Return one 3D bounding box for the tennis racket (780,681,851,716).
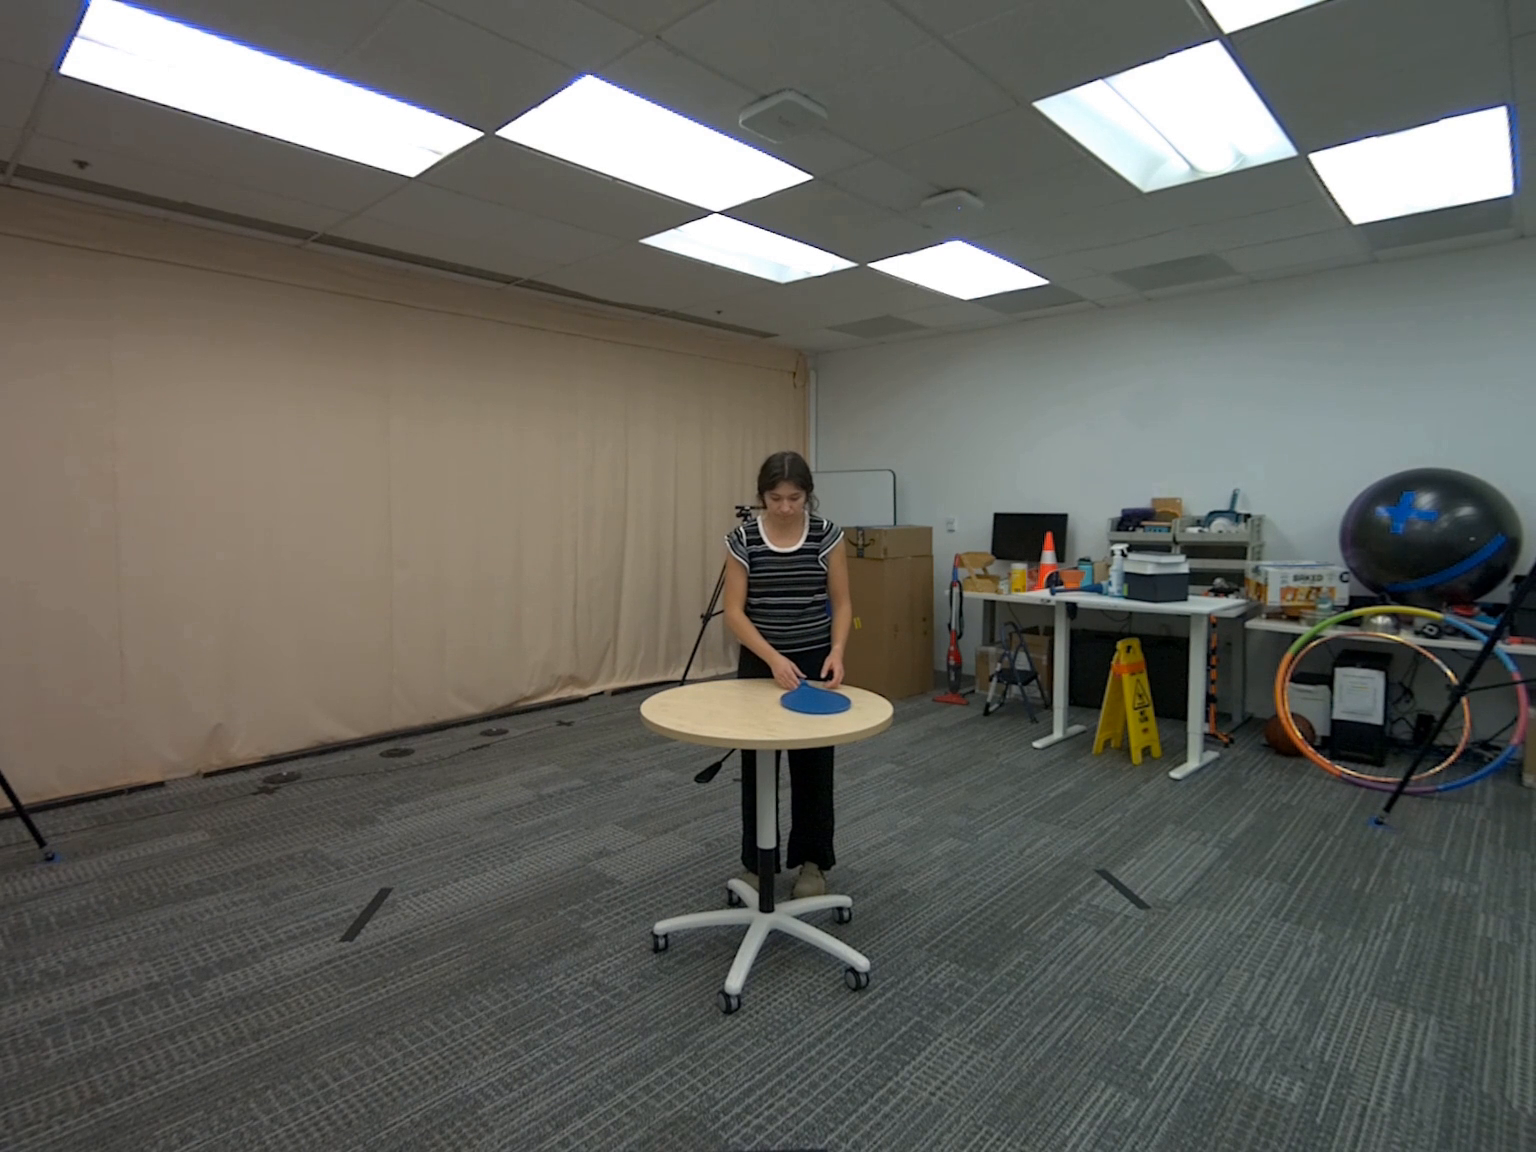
[{"bbox_3d":[0.139,0.375,2.661,0.211,0.031,0.439,-3,7,-11],"label":"tennis racket"}]
